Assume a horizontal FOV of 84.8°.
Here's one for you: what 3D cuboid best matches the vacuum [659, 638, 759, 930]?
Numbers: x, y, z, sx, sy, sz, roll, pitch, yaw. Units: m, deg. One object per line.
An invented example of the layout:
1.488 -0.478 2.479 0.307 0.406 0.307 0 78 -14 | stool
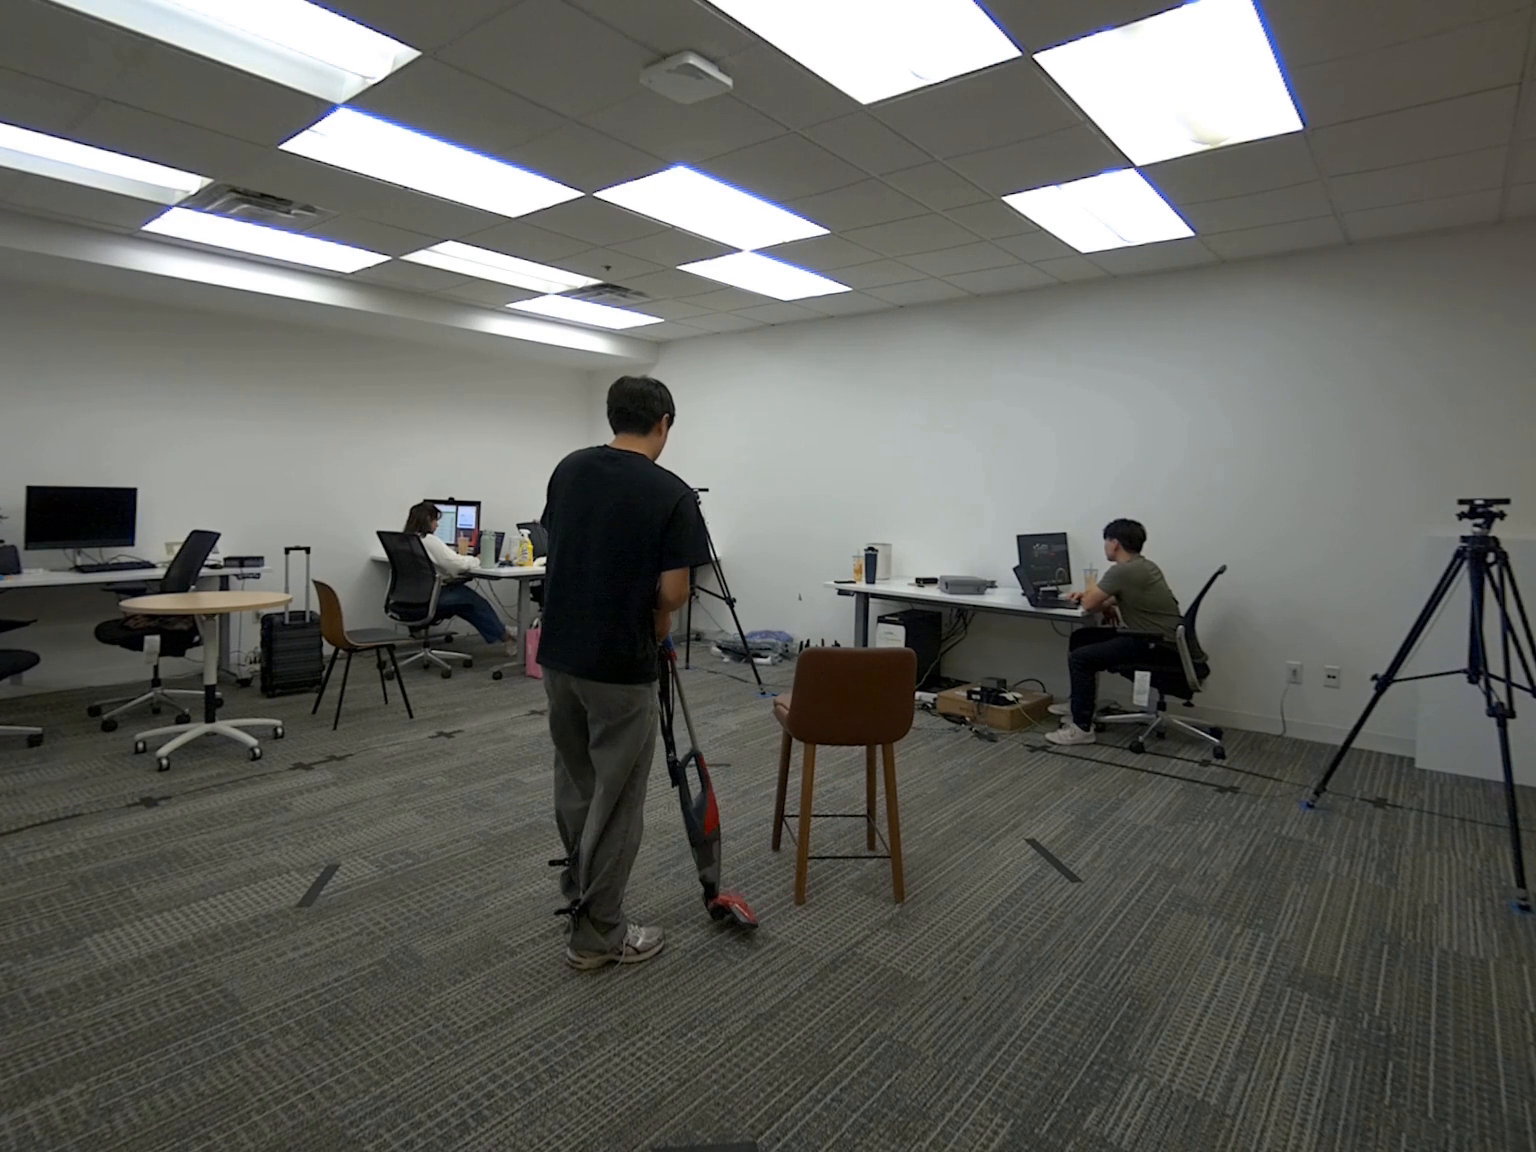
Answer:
-0.269 0.577 2.705 0.142 1.047 0.256 -16 2 -16 | vacuum
